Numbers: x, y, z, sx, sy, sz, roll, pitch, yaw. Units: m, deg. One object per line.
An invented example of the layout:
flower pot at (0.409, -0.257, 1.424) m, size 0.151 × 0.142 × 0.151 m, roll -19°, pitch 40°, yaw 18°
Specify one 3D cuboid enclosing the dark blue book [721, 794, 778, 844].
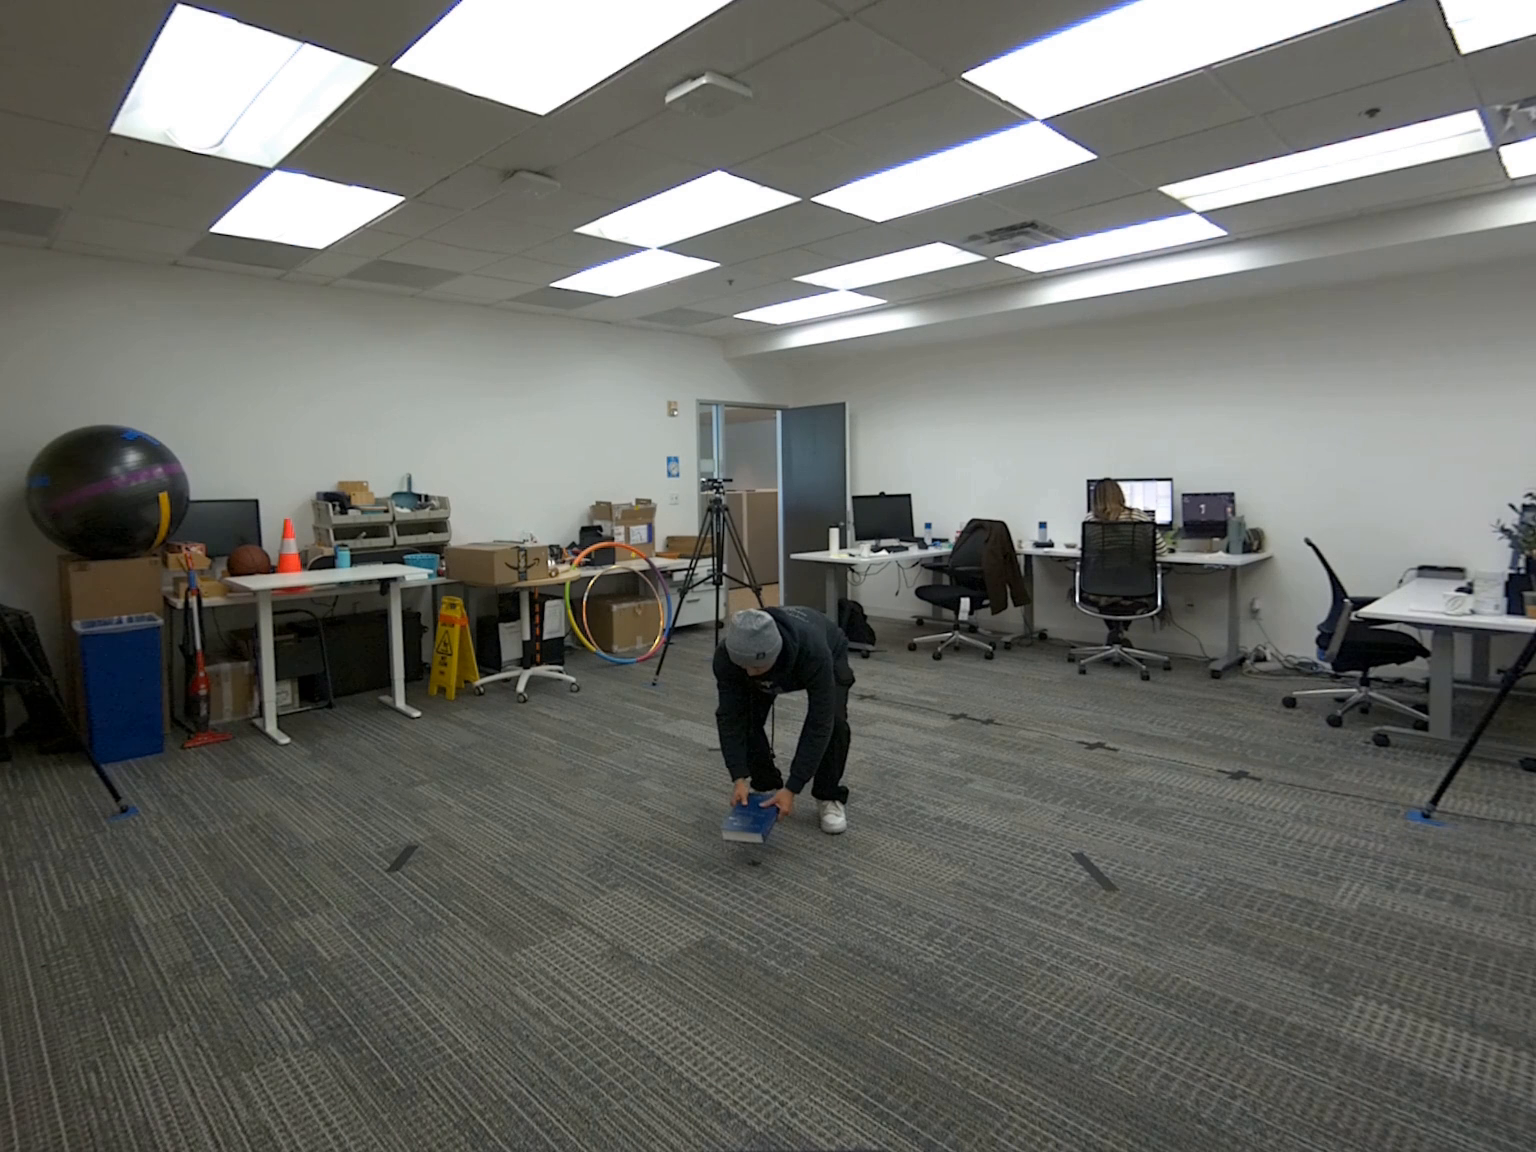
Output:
dark blue book at (-0.059, 0.892, 3.123) m, size 0.166 × 0.044 × 0.244 m, roll -2°, pitch 16°, yaw 18°
